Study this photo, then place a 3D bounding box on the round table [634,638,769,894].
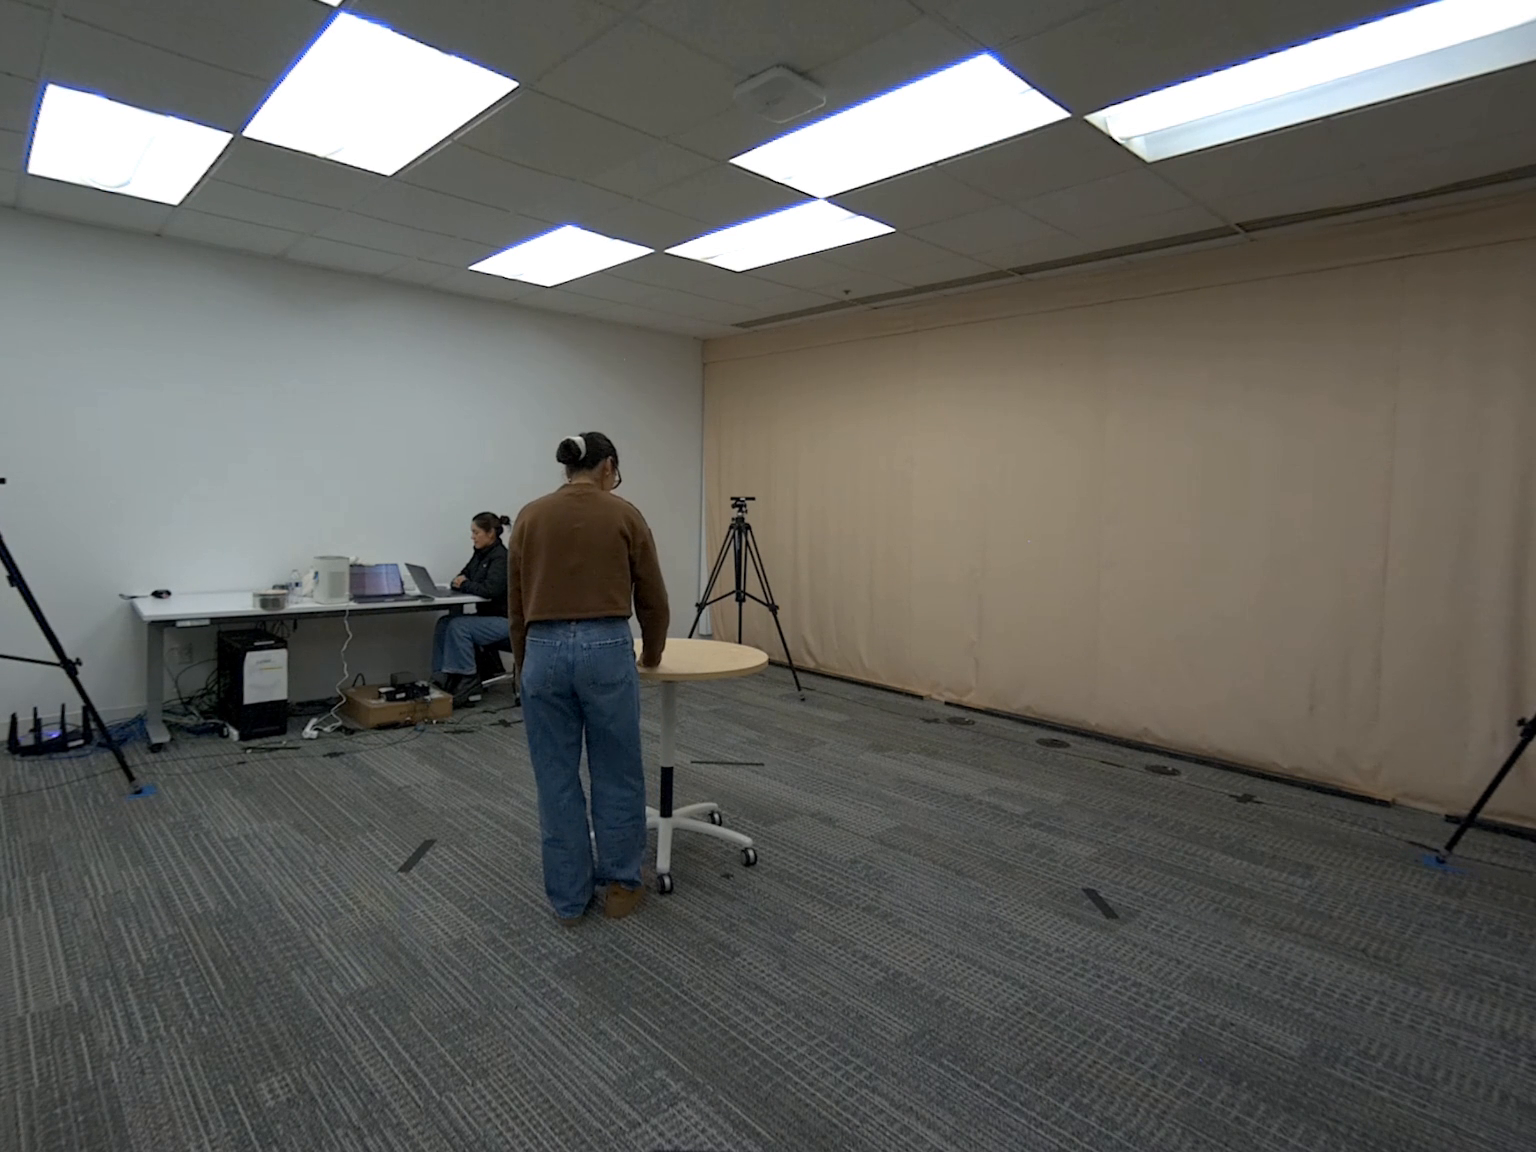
[{"bbox_3d":[-0.399,0.697,3.293,0.763,0.792,0.766,1,4,-1],"label":"round table"}]
